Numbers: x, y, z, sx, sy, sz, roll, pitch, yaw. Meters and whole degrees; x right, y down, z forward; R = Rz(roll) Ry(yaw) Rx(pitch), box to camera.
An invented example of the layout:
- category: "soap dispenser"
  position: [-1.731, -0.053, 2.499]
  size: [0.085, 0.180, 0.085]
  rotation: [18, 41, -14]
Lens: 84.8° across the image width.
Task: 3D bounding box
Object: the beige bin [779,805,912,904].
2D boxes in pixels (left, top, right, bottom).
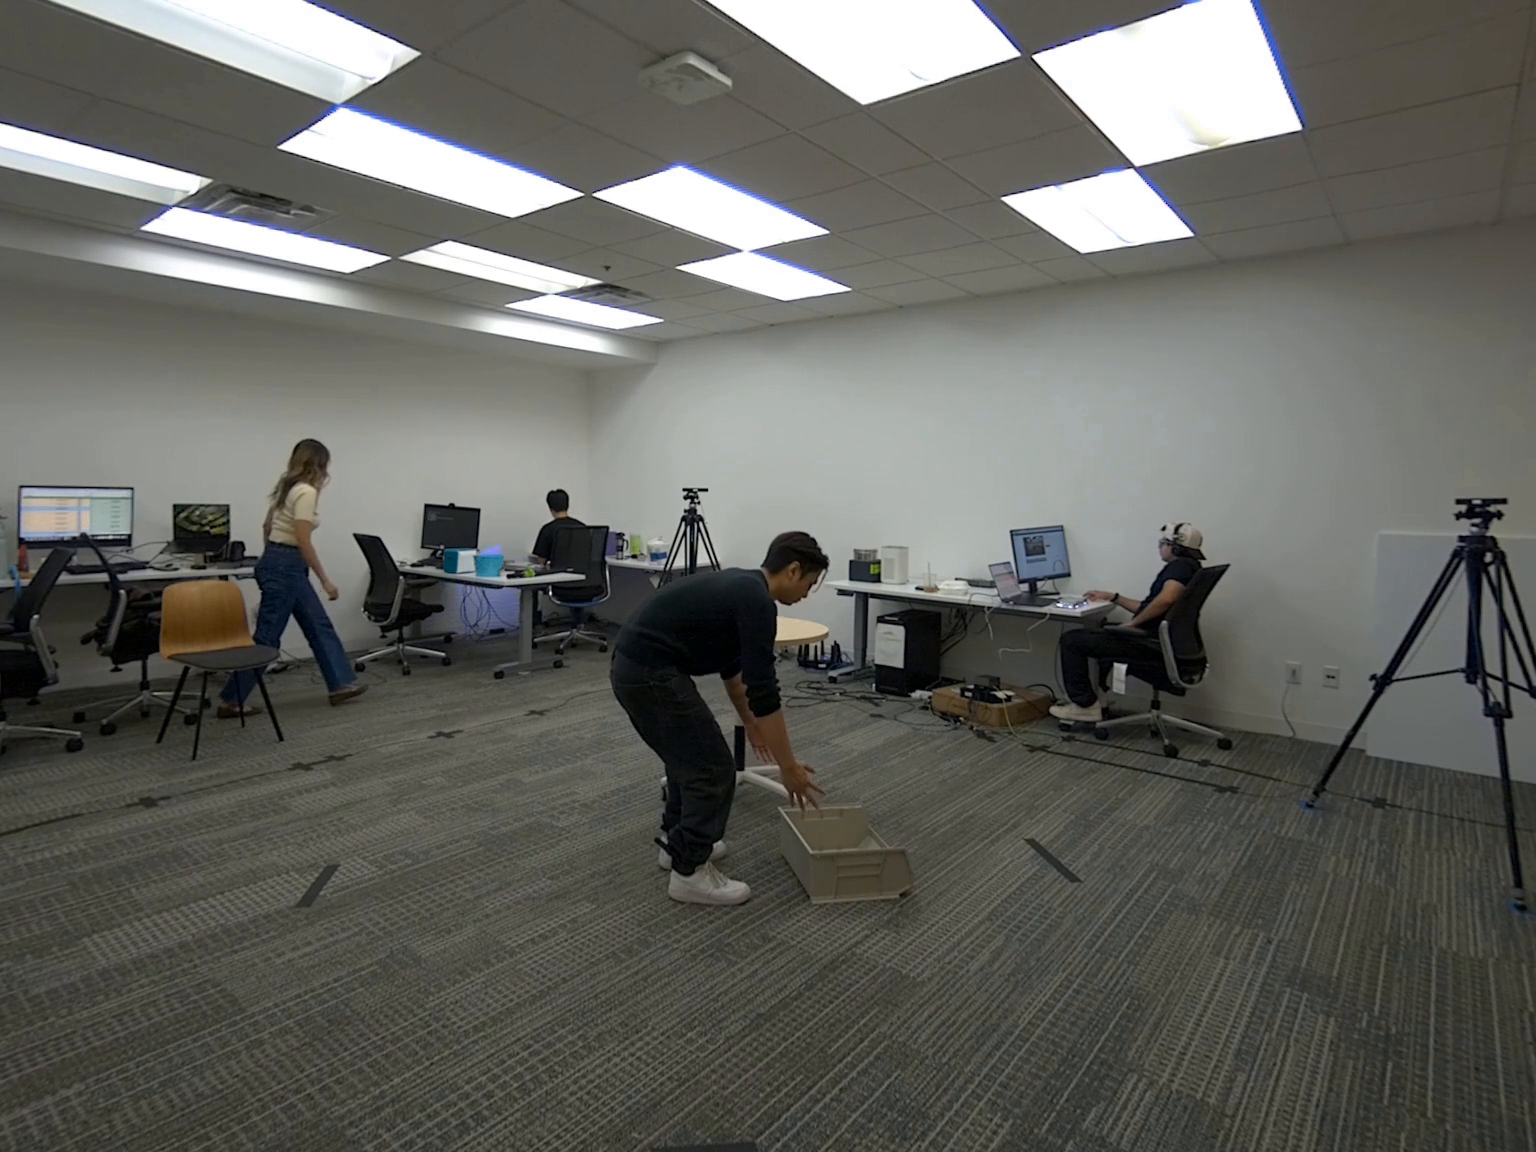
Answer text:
- category: "beige bin"
  position: [0.262, 0.999, 3.087]
  size: [0.372, 0.188, 0.430]
  rotation: [0, 6, -13]
